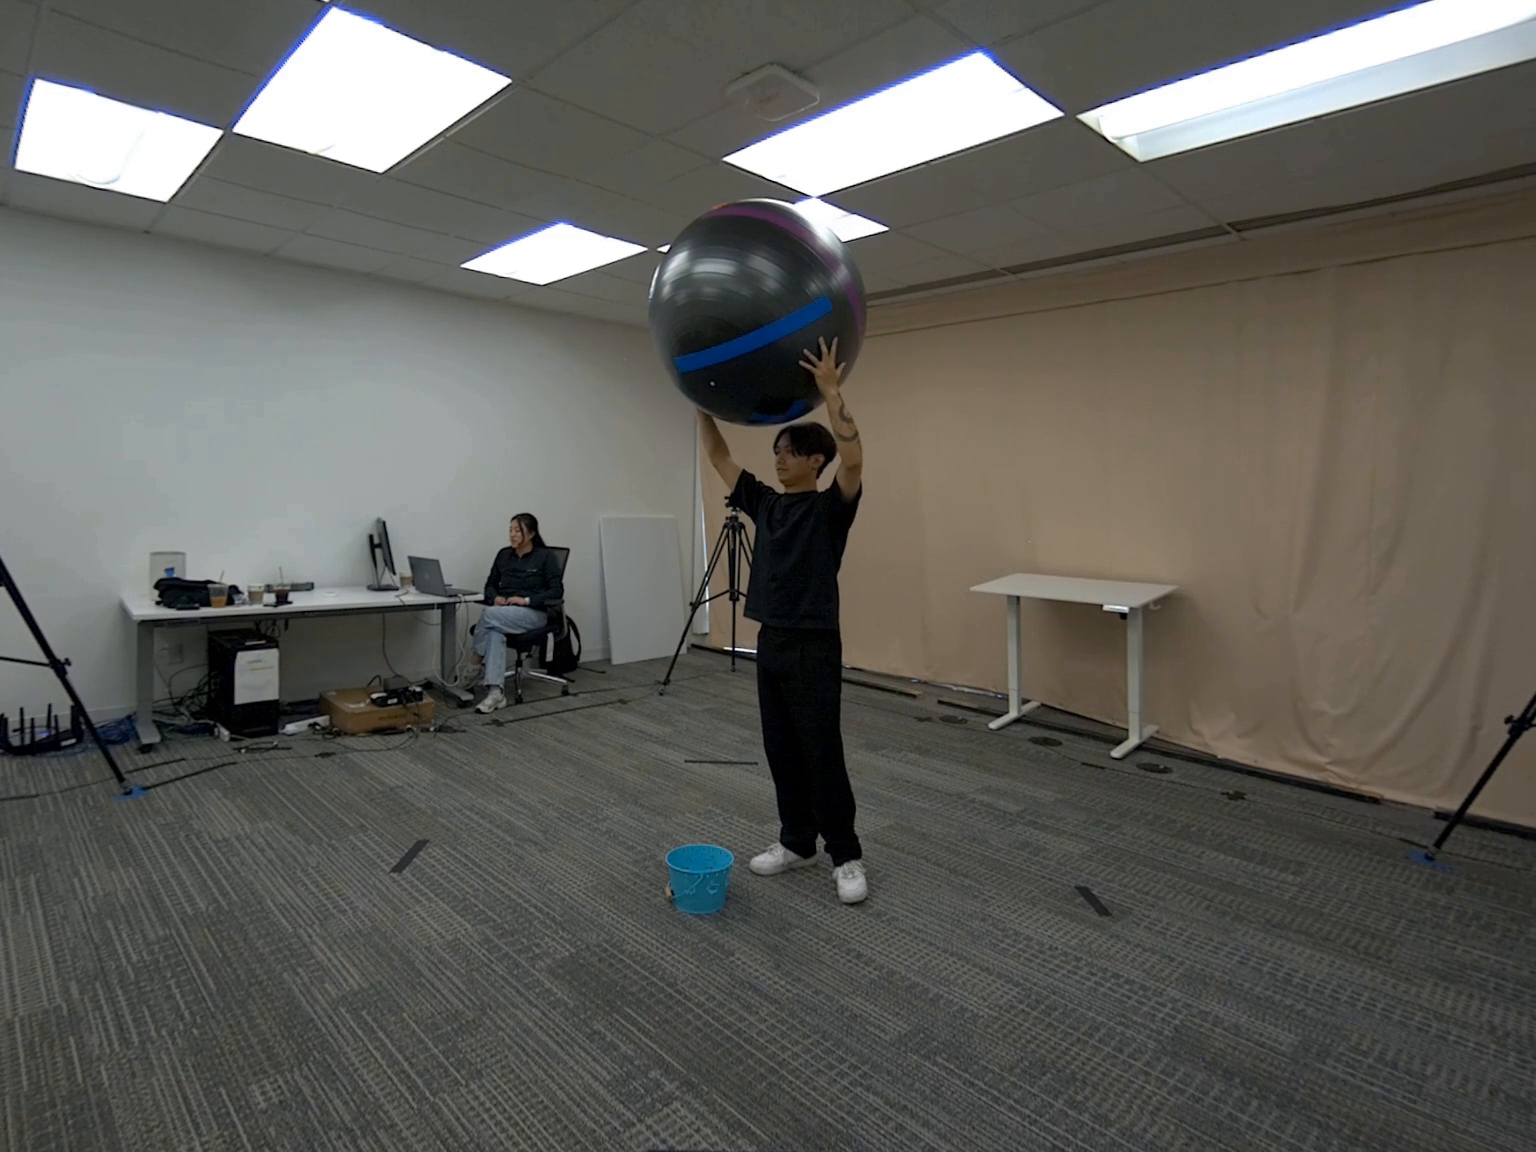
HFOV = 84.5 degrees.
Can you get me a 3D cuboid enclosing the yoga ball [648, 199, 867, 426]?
[{"bbox_3d":[-0.041,-0.900,2.936,0.757,0.756,0.761,1,4,-1],"label":"yoga ball"}]
